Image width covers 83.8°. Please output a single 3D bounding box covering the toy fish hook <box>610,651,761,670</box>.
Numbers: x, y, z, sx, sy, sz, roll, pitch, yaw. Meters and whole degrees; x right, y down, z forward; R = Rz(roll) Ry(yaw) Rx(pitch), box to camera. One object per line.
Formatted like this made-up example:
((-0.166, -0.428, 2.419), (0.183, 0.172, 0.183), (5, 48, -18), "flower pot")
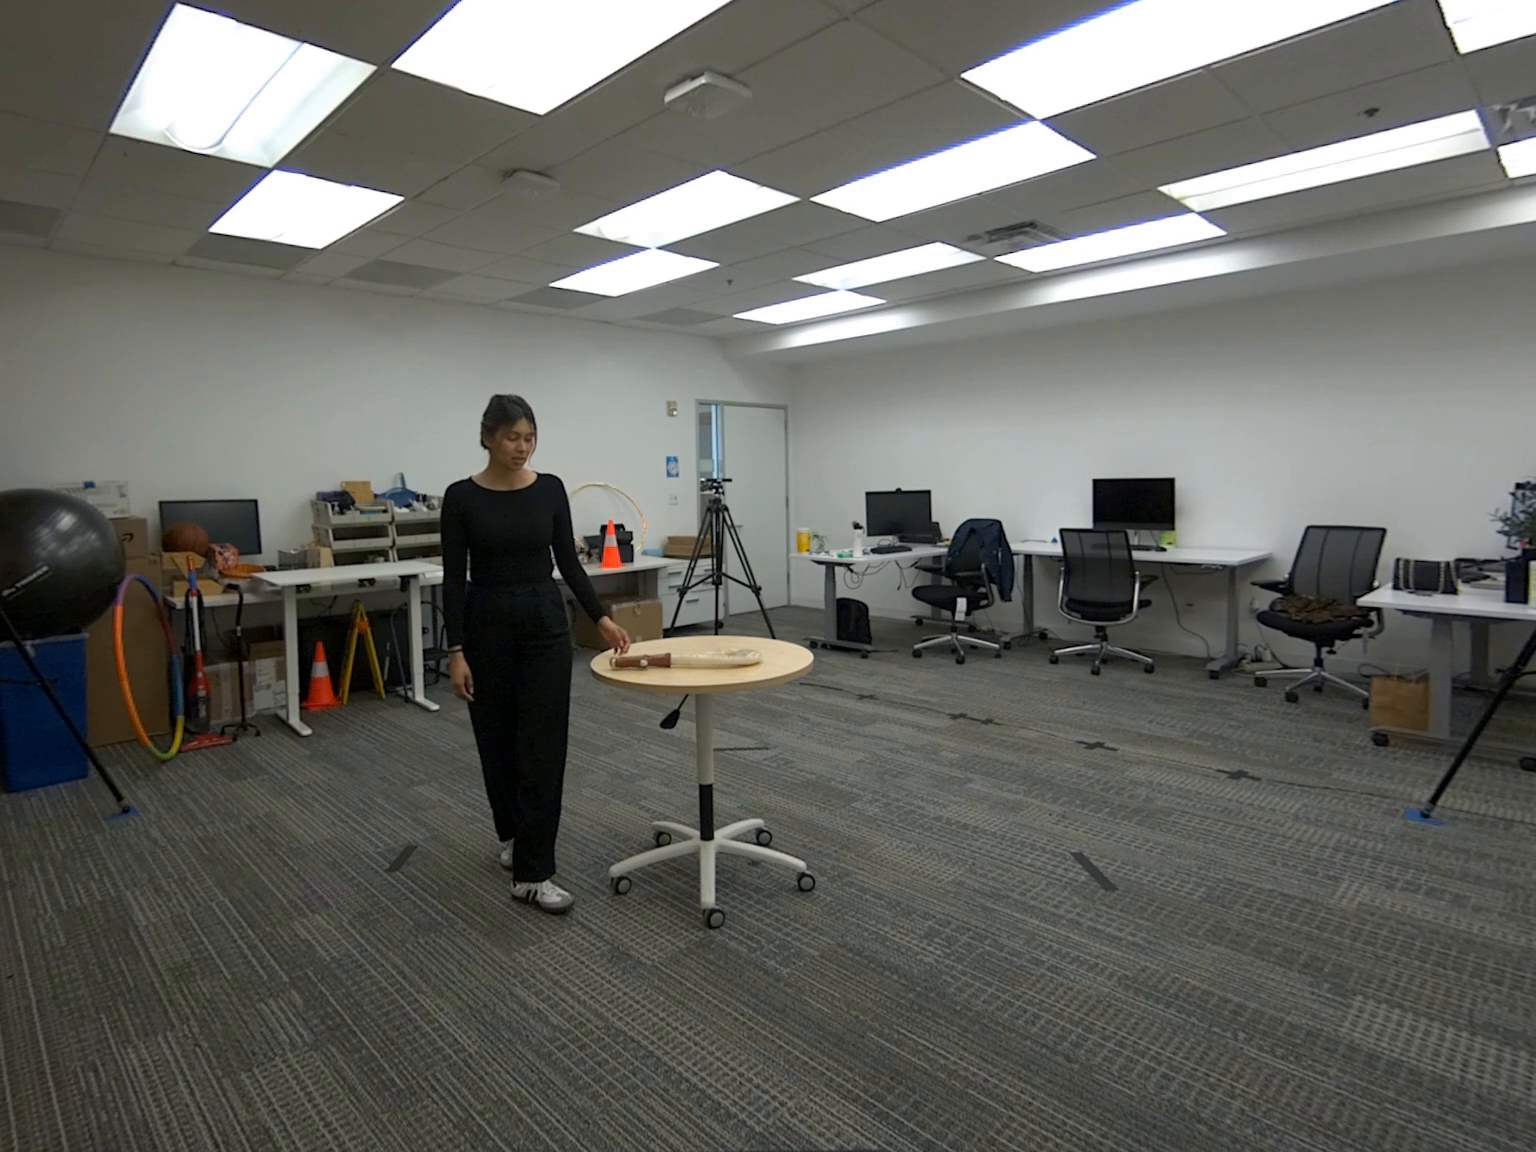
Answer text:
((-0.276, 0.281, 2.877), (0.505, 0.048, 0.225), (0, -1, -4), "toy fish hook")
